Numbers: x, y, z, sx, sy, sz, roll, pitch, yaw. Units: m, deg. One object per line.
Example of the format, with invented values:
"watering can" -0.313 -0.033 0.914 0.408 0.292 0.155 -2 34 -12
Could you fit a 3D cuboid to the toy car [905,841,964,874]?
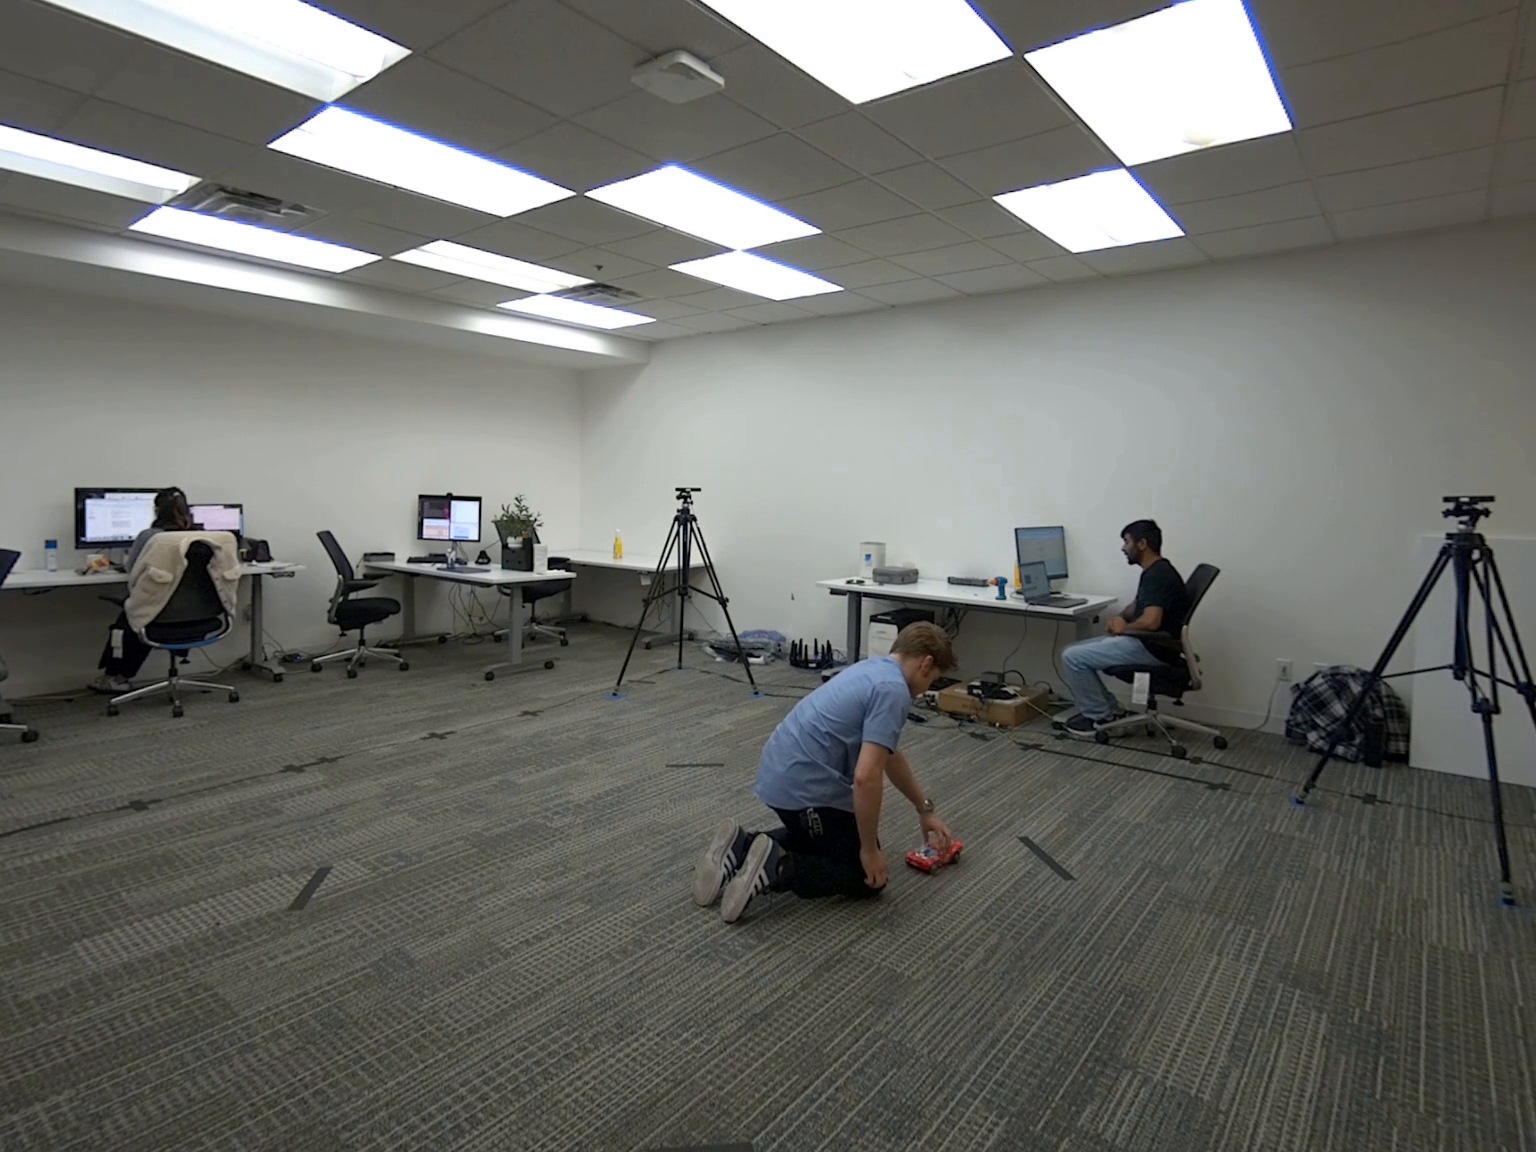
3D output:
"toy car" 0.629 1.049 3.211 0.249 0.082 0.135 -17 16 -40
